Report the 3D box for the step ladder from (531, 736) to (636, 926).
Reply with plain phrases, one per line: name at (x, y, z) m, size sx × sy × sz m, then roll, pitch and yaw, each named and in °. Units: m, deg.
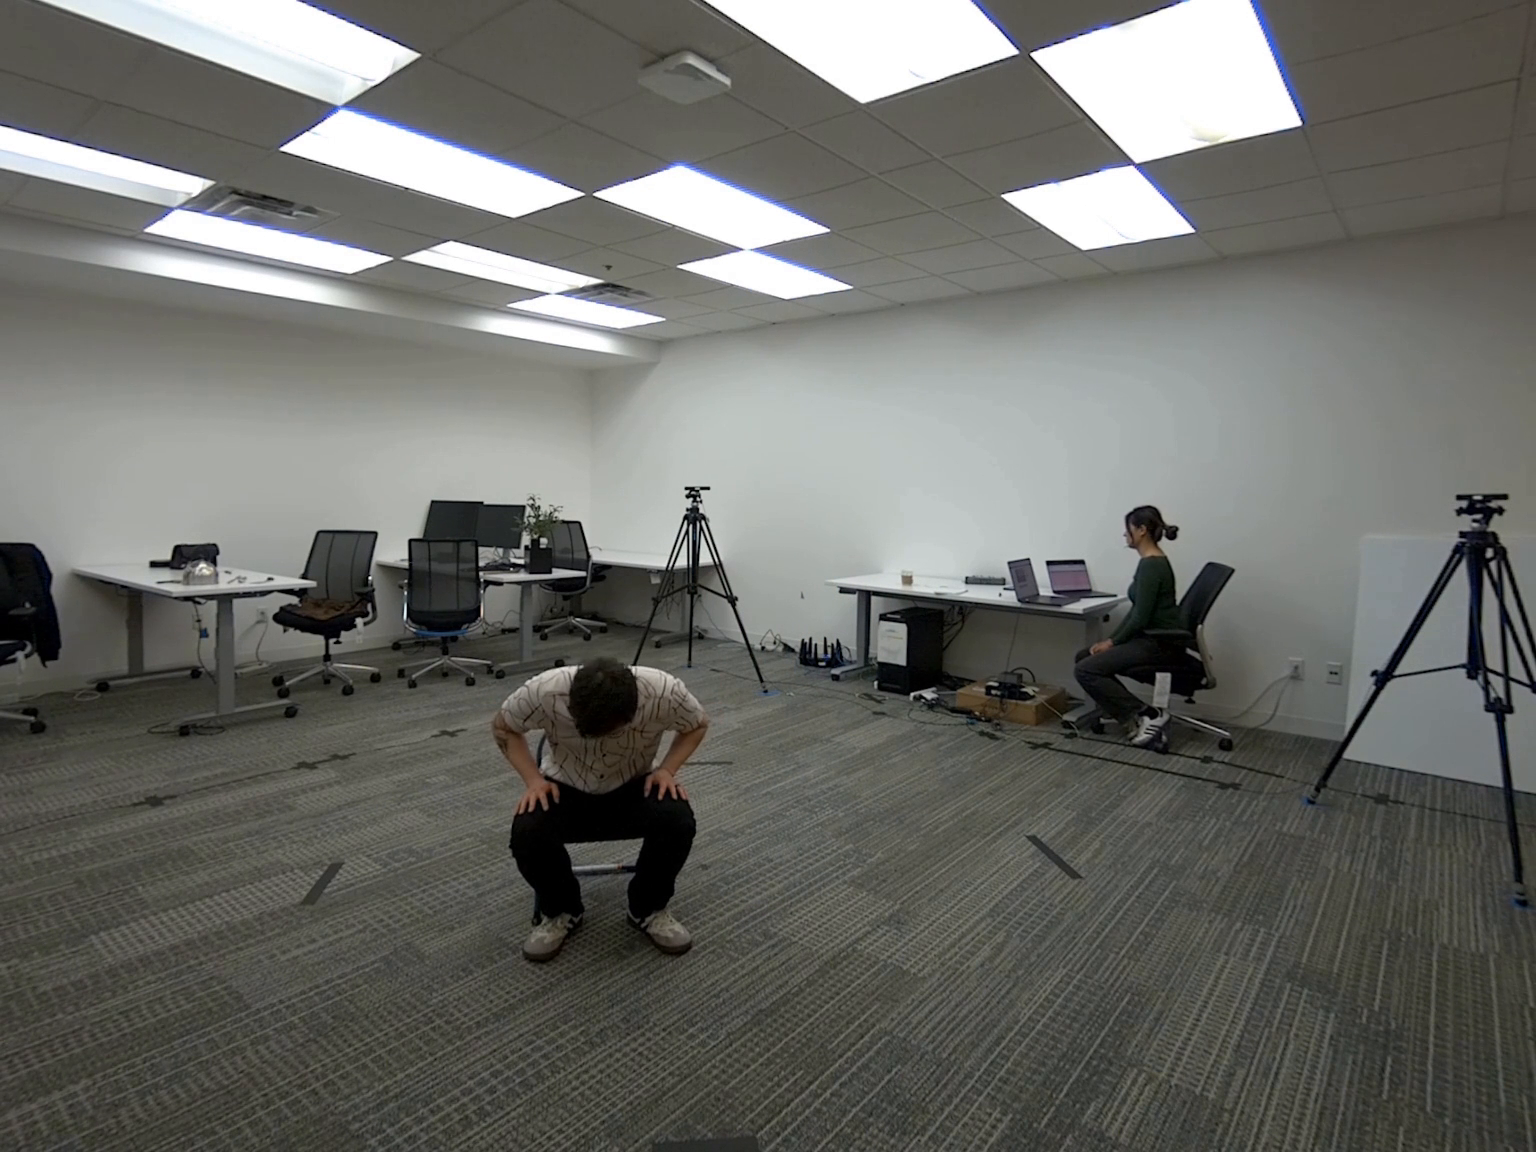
step ladder at (-0.588, 0.784, 2.884) m, size 0.425 × 0.604 × 0.355 m, roll -1°, pitch 4°, yaw -13°
